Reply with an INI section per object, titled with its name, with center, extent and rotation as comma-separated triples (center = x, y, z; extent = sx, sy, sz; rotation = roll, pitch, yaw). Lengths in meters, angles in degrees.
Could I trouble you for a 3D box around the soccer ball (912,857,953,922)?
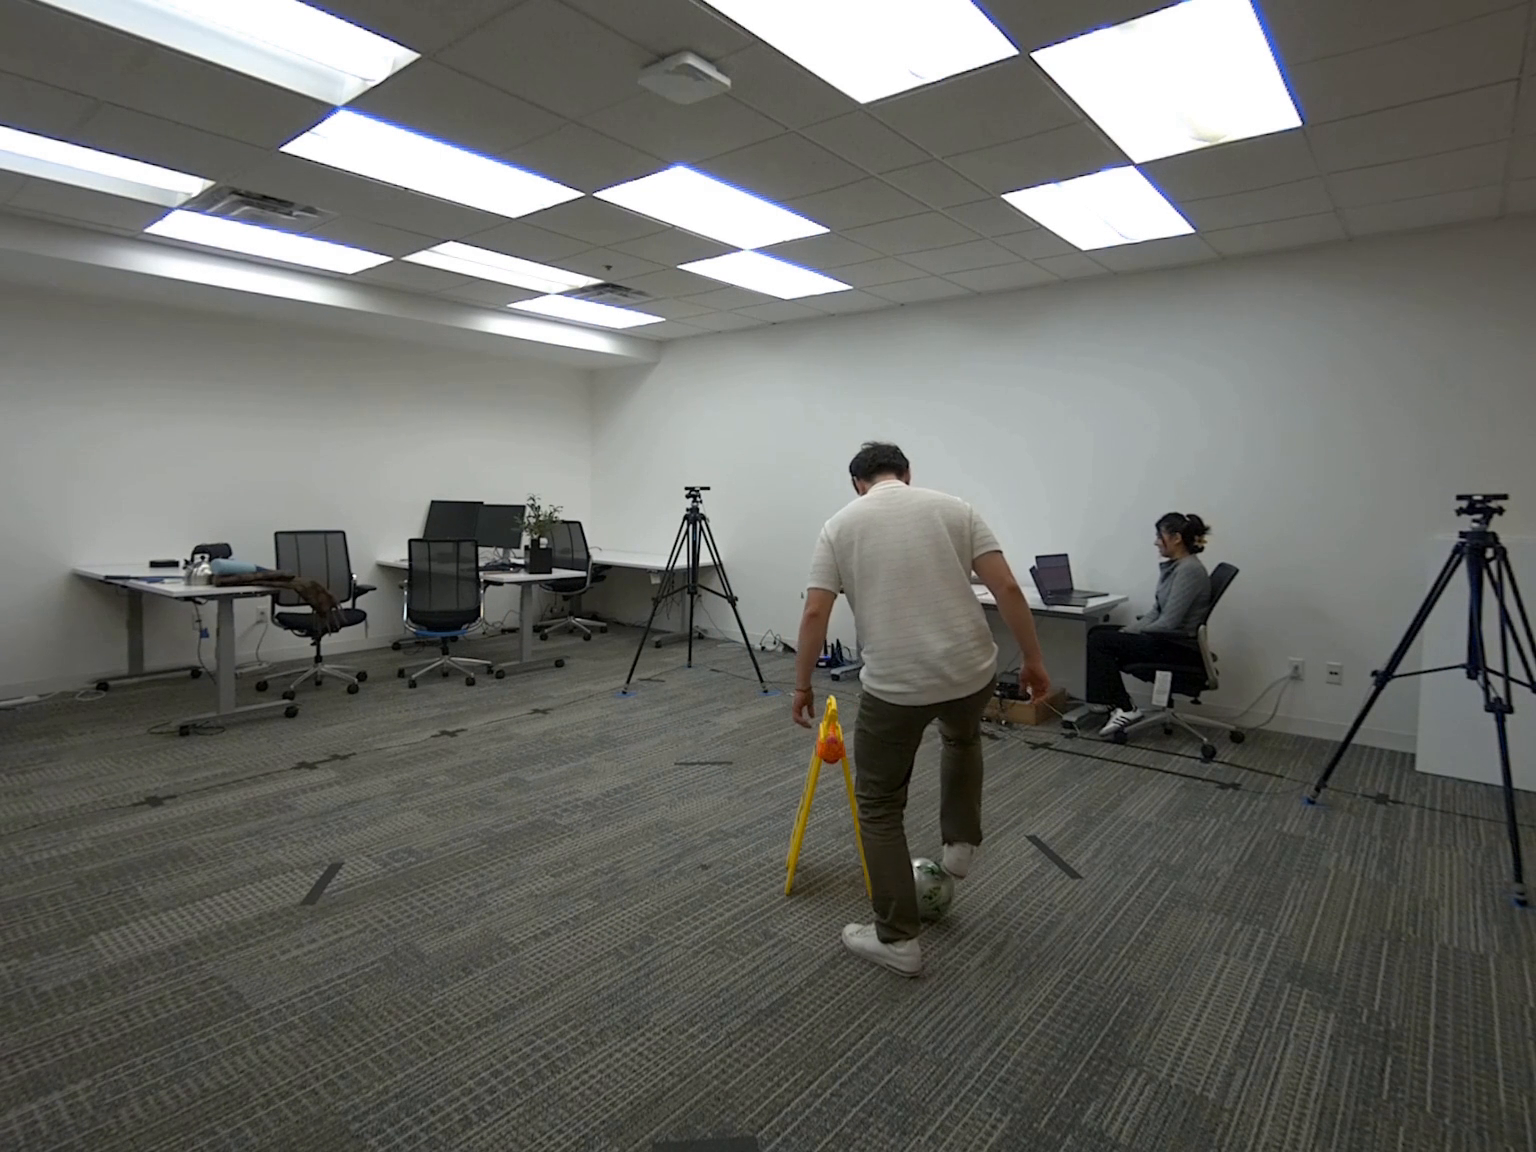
[soccer ball]
center = 0.509, 1.016, 2.793
extent = 0.187, 0.187, 0.188
rotation = 0, 4, -2
